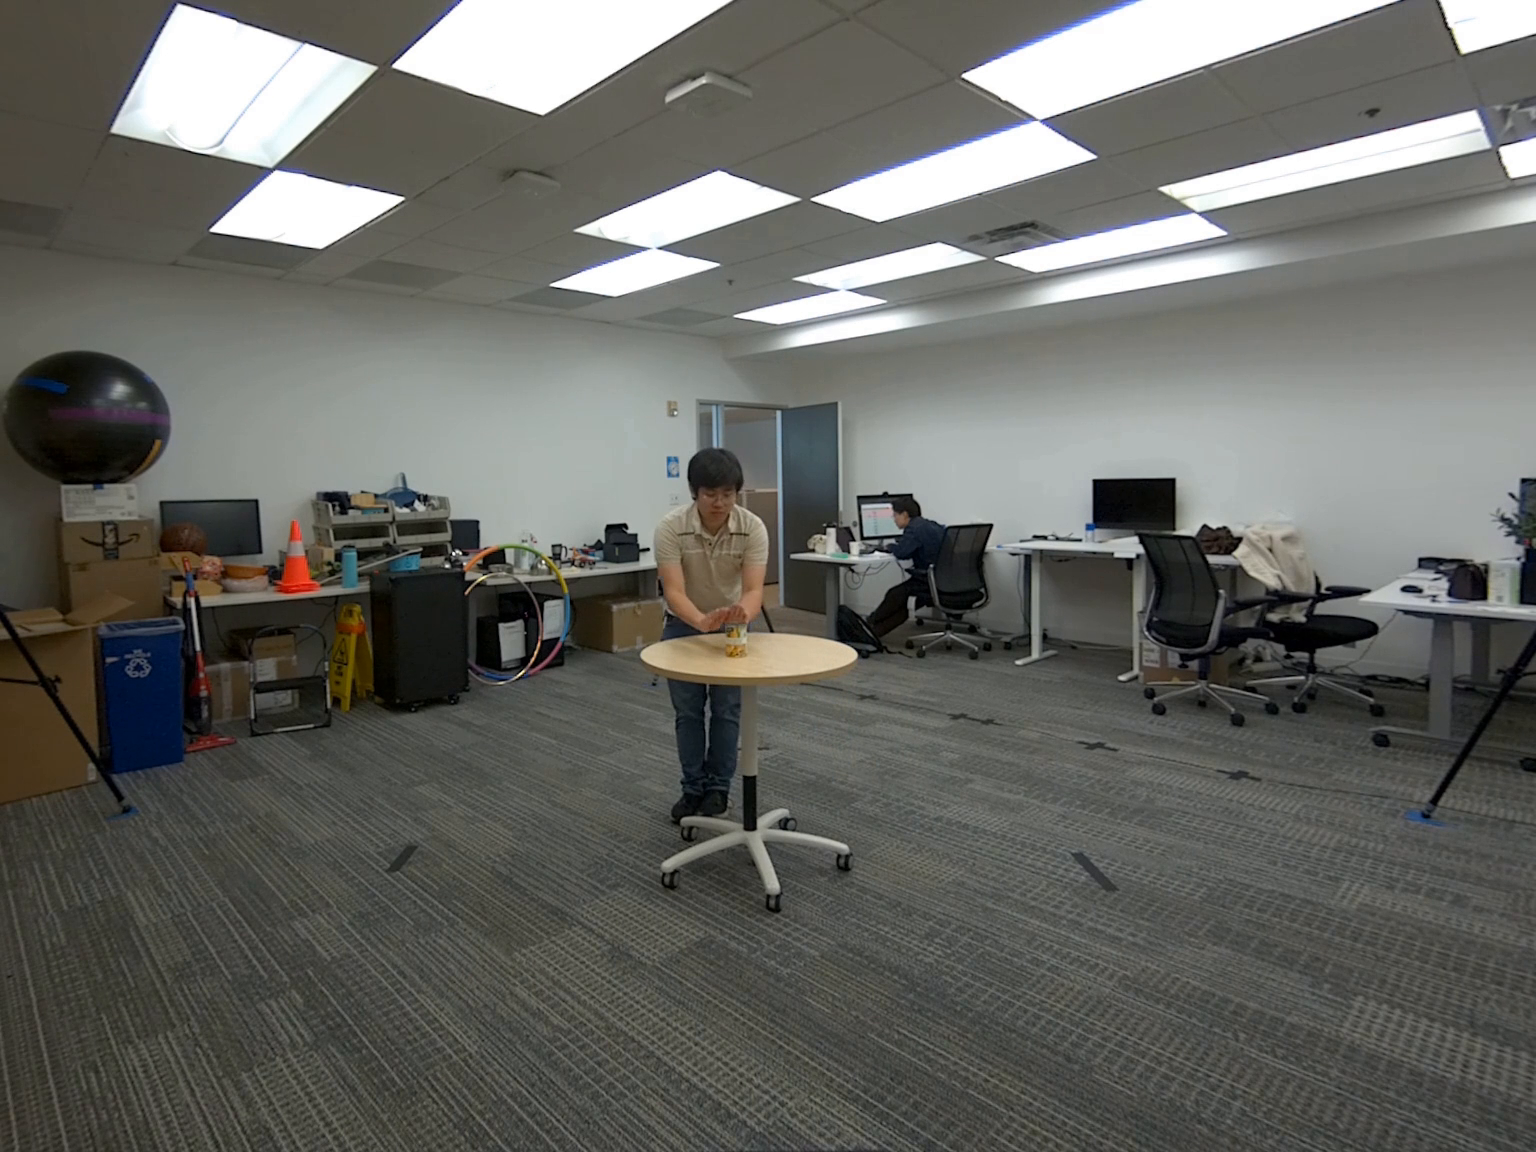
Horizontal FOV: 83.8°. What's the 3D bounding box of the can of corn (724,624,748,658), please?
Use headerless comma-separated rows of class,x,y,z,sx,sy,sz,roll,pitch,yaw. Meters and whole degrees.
can of corn,-0.115,0.223,2.967,0.074,0.110,0.074,-2,5,-2
